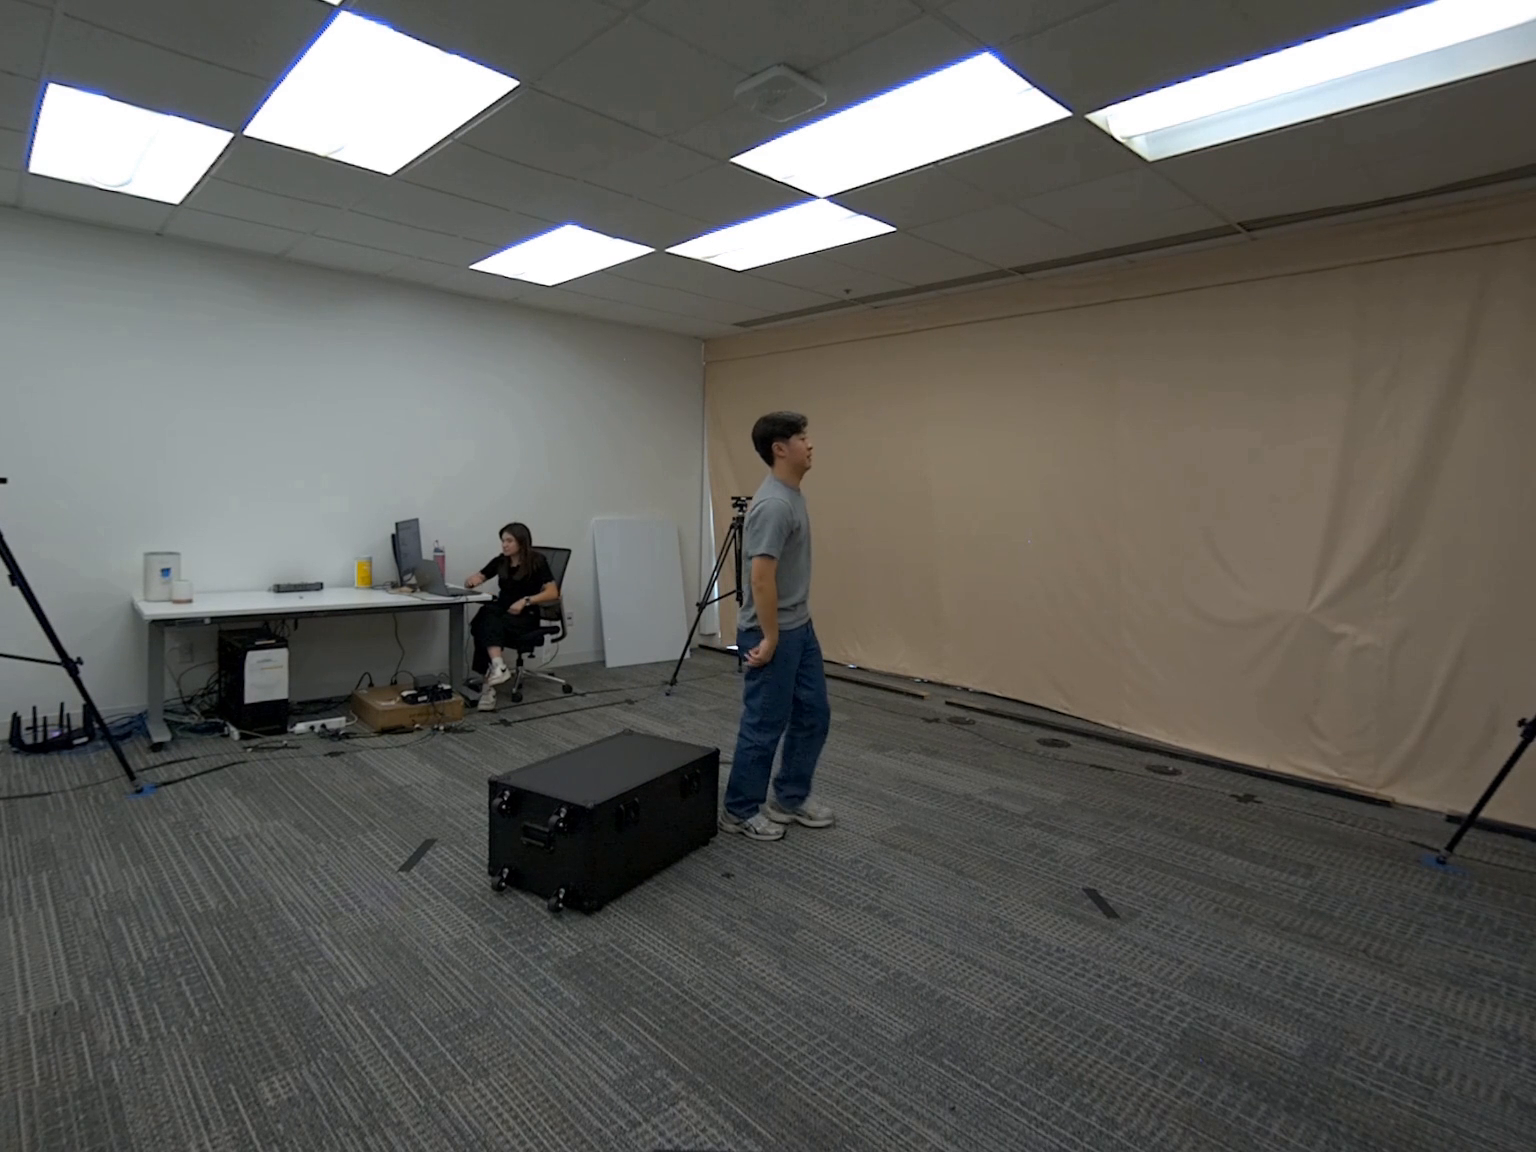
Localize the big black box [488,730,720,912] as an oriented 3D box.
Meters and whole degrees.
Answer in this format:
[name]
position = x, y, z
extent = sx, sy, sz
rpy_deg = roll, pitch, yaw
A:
[big black box]
position = -0.624, 0.897, 3.176
extent = 0.533, 0.395, 0.845
rpy_deg = 5, 6, 30
